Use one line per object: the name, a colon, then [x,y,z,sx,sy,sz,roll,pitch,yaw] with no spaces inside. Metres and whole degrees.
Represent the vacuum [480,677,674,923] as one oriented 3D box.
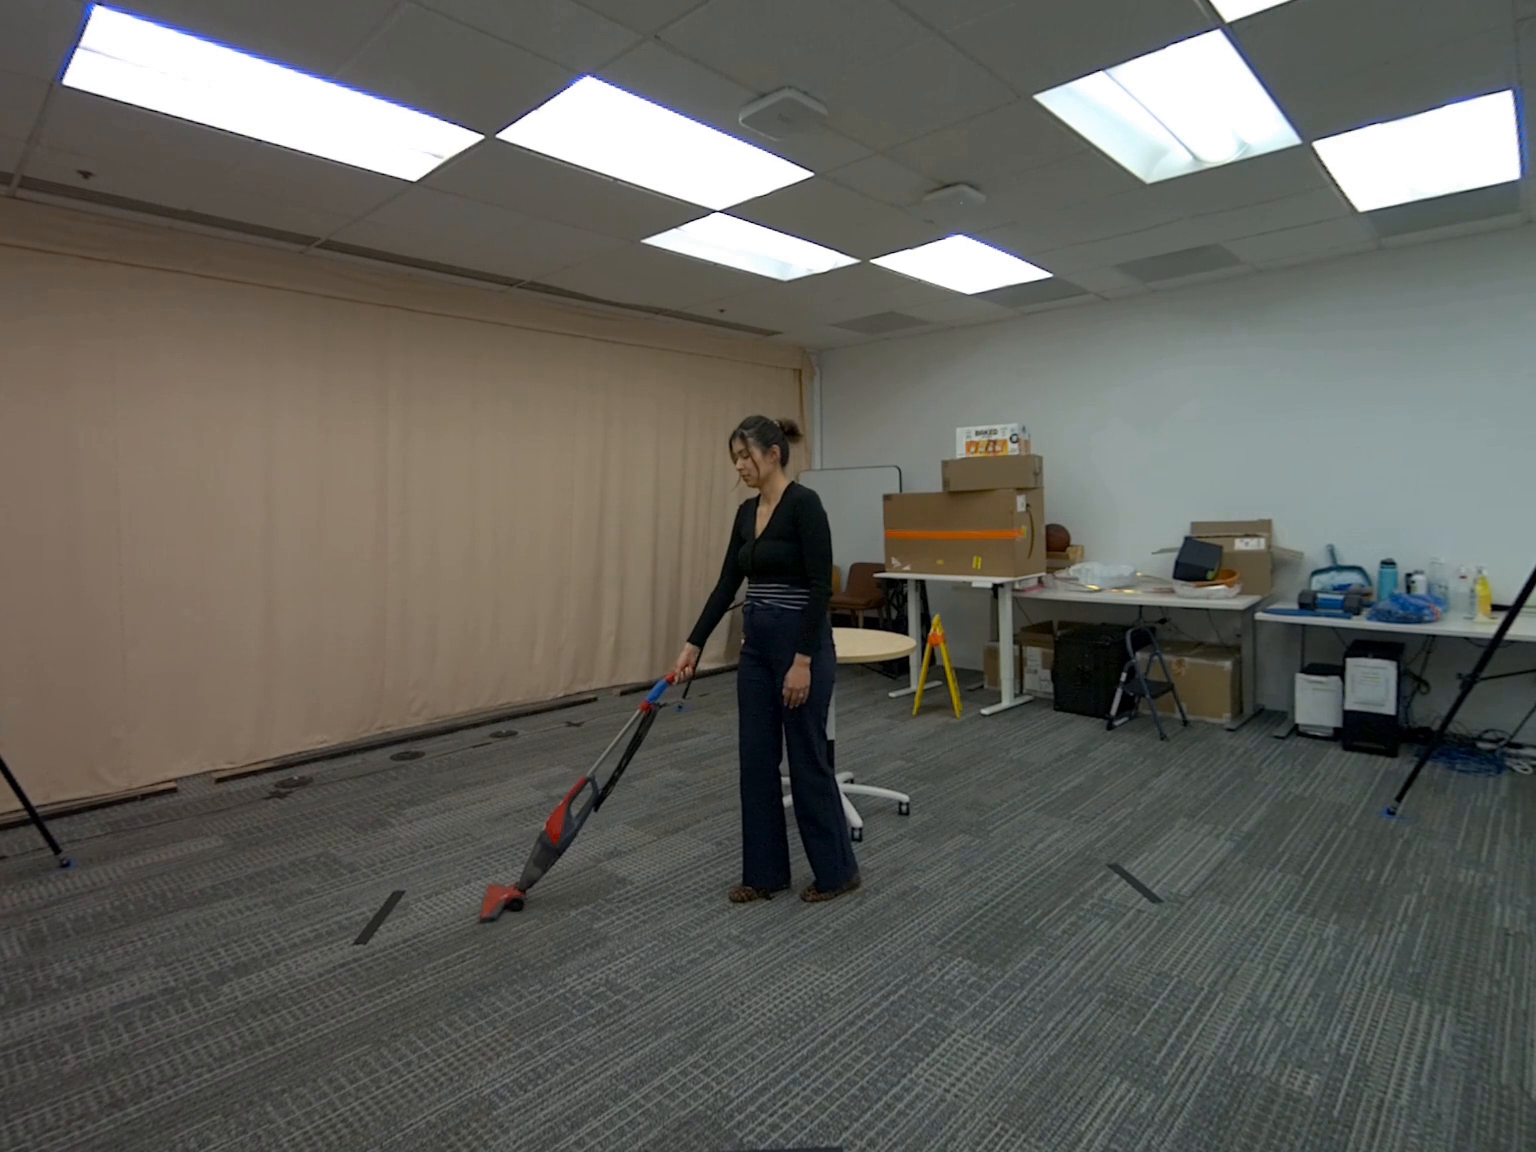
vacuum: [-0.617,0.744,3.013,0.142,1.048,0.256,38,-4,-11]
